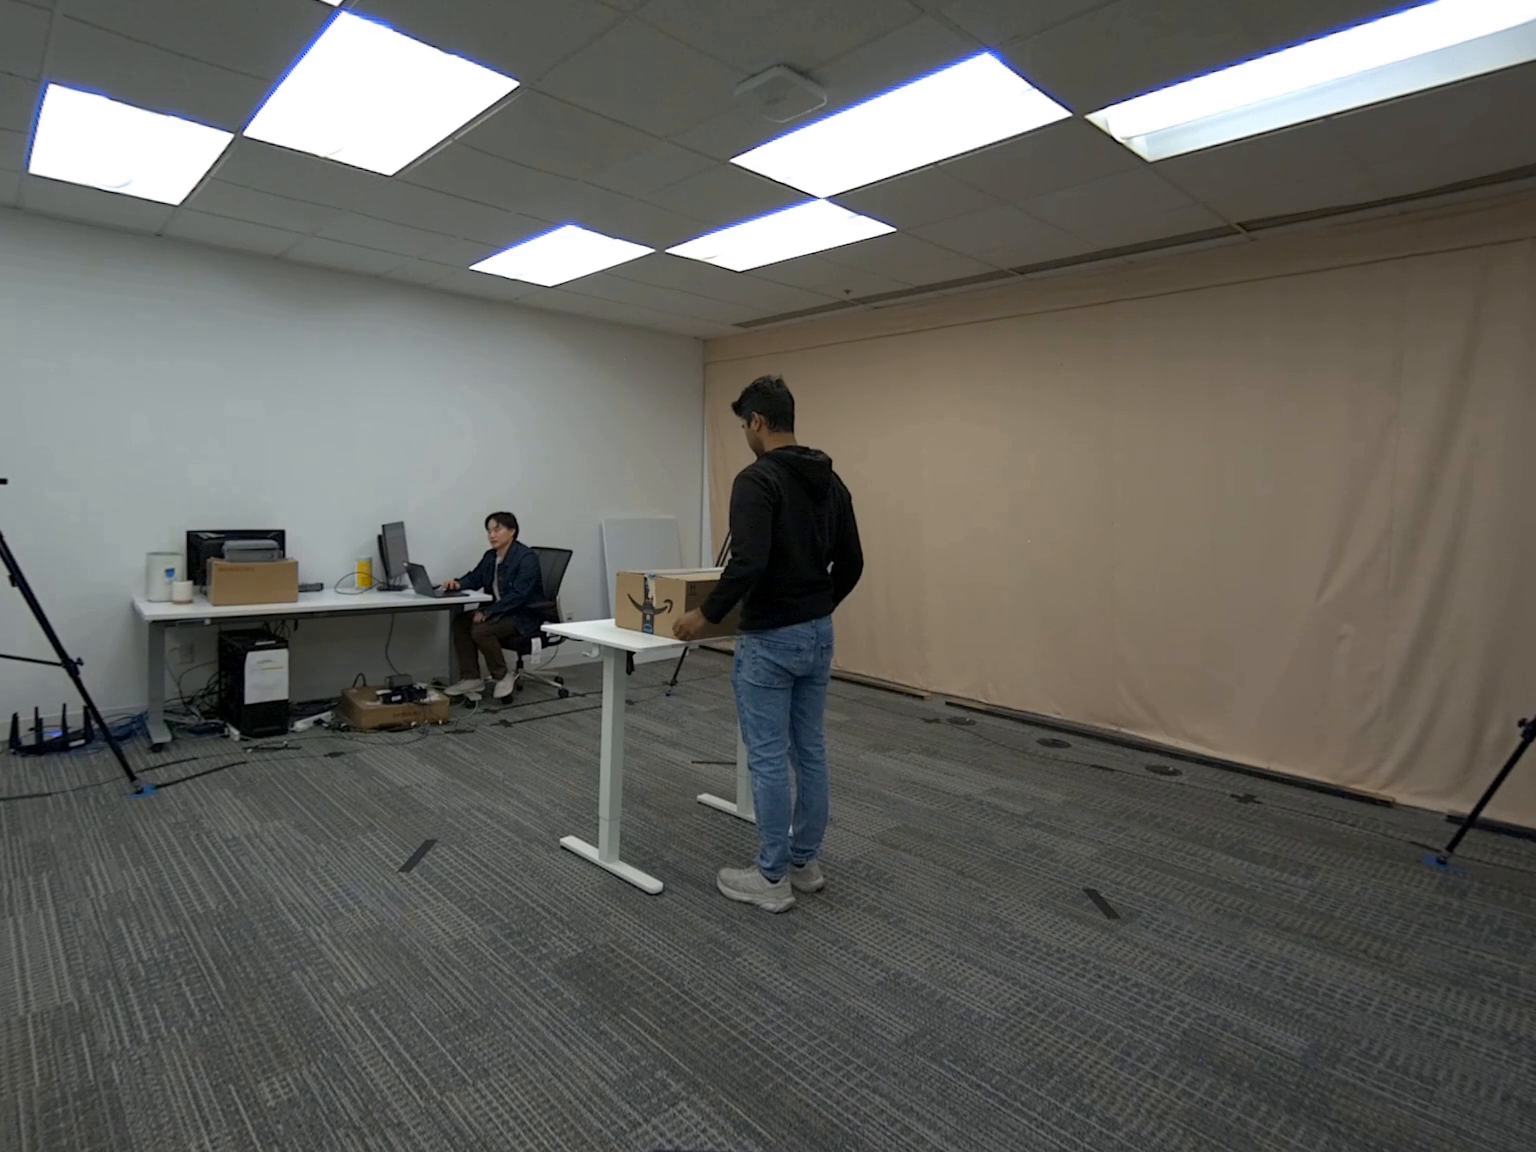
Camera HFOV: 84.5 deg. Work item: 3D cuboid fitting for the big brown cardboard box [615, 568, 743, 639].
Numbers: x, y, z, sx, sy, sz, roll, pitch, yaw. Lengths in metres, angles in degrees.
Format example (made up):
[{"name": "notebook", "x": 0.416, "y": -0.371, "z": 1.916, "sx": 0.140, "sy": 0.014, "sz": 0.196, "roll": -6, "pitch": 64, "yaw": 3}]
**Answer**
[{"name": "big brown cardboard box", "x": -0.251, "y": 0.094, "z": 3.313, "sx": 0.428, "sy": 0.232, "sz": 0.576, "roll": 6, "pitch": 8, "yaw": 43}]
